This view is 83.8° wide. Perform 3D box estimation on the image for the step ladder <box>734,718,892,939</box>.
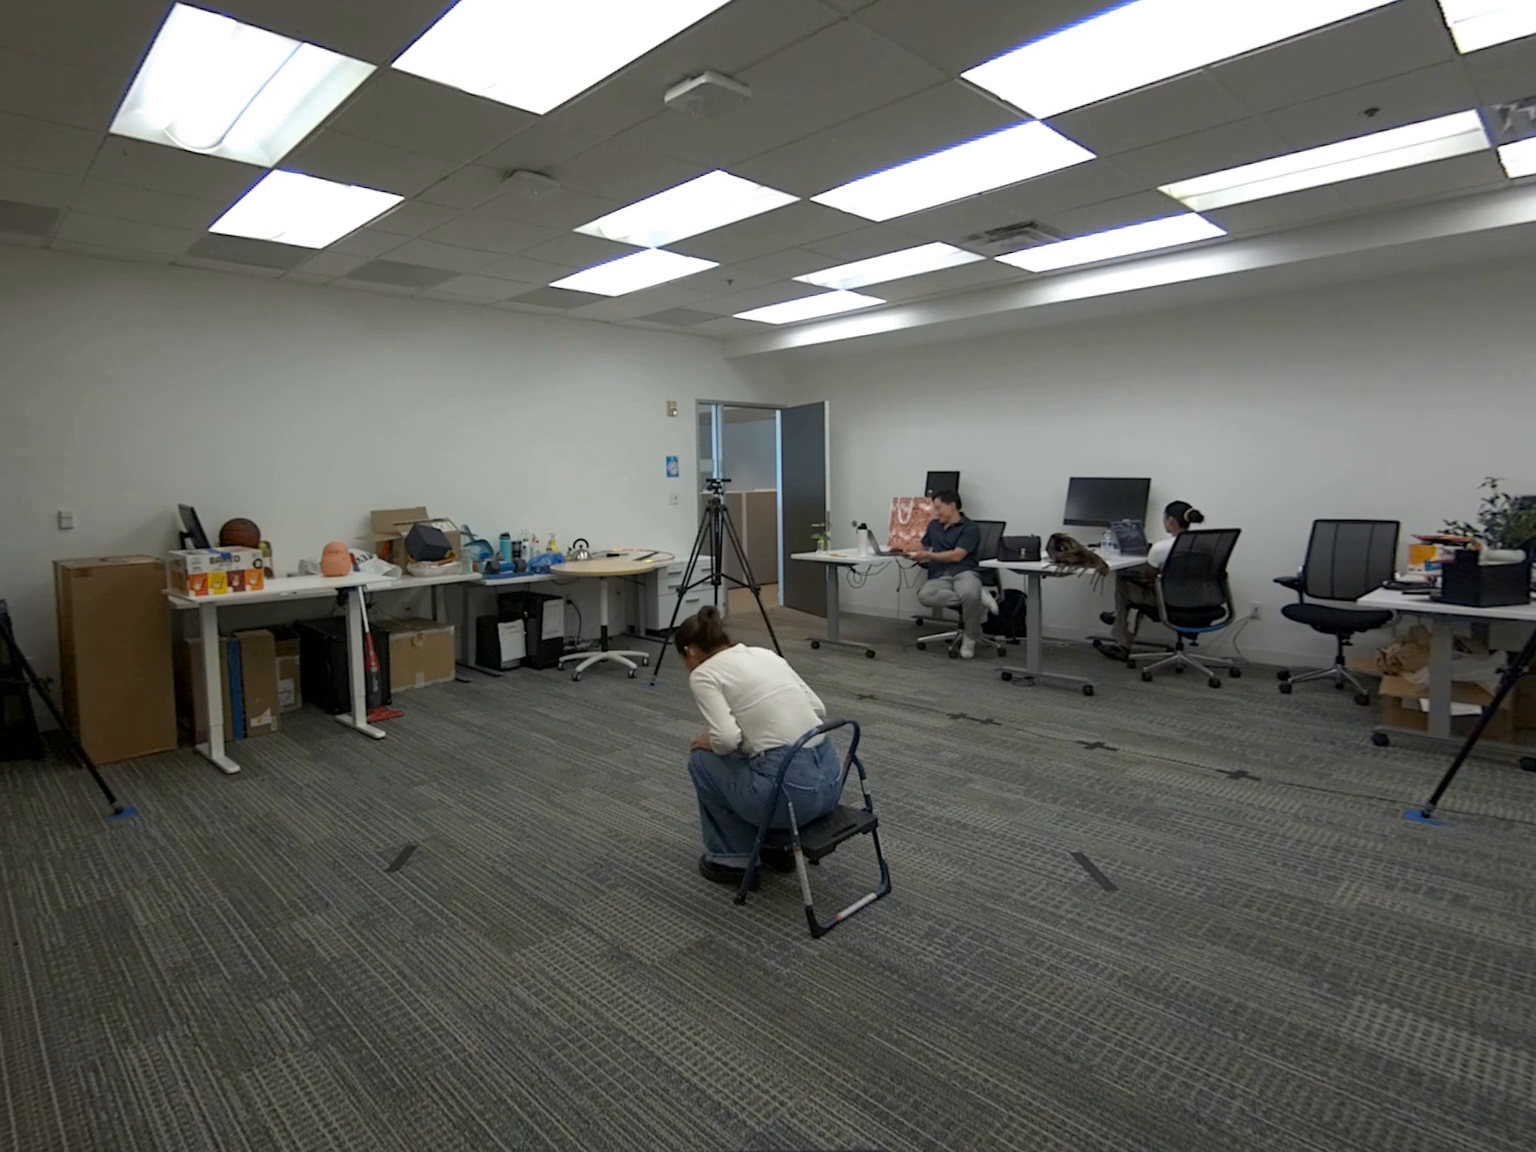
[{"bbox_3d":[0.154,0.767,2.828,0.360,0.604,0.419,3,6,42],"label":"step ladder"}]
